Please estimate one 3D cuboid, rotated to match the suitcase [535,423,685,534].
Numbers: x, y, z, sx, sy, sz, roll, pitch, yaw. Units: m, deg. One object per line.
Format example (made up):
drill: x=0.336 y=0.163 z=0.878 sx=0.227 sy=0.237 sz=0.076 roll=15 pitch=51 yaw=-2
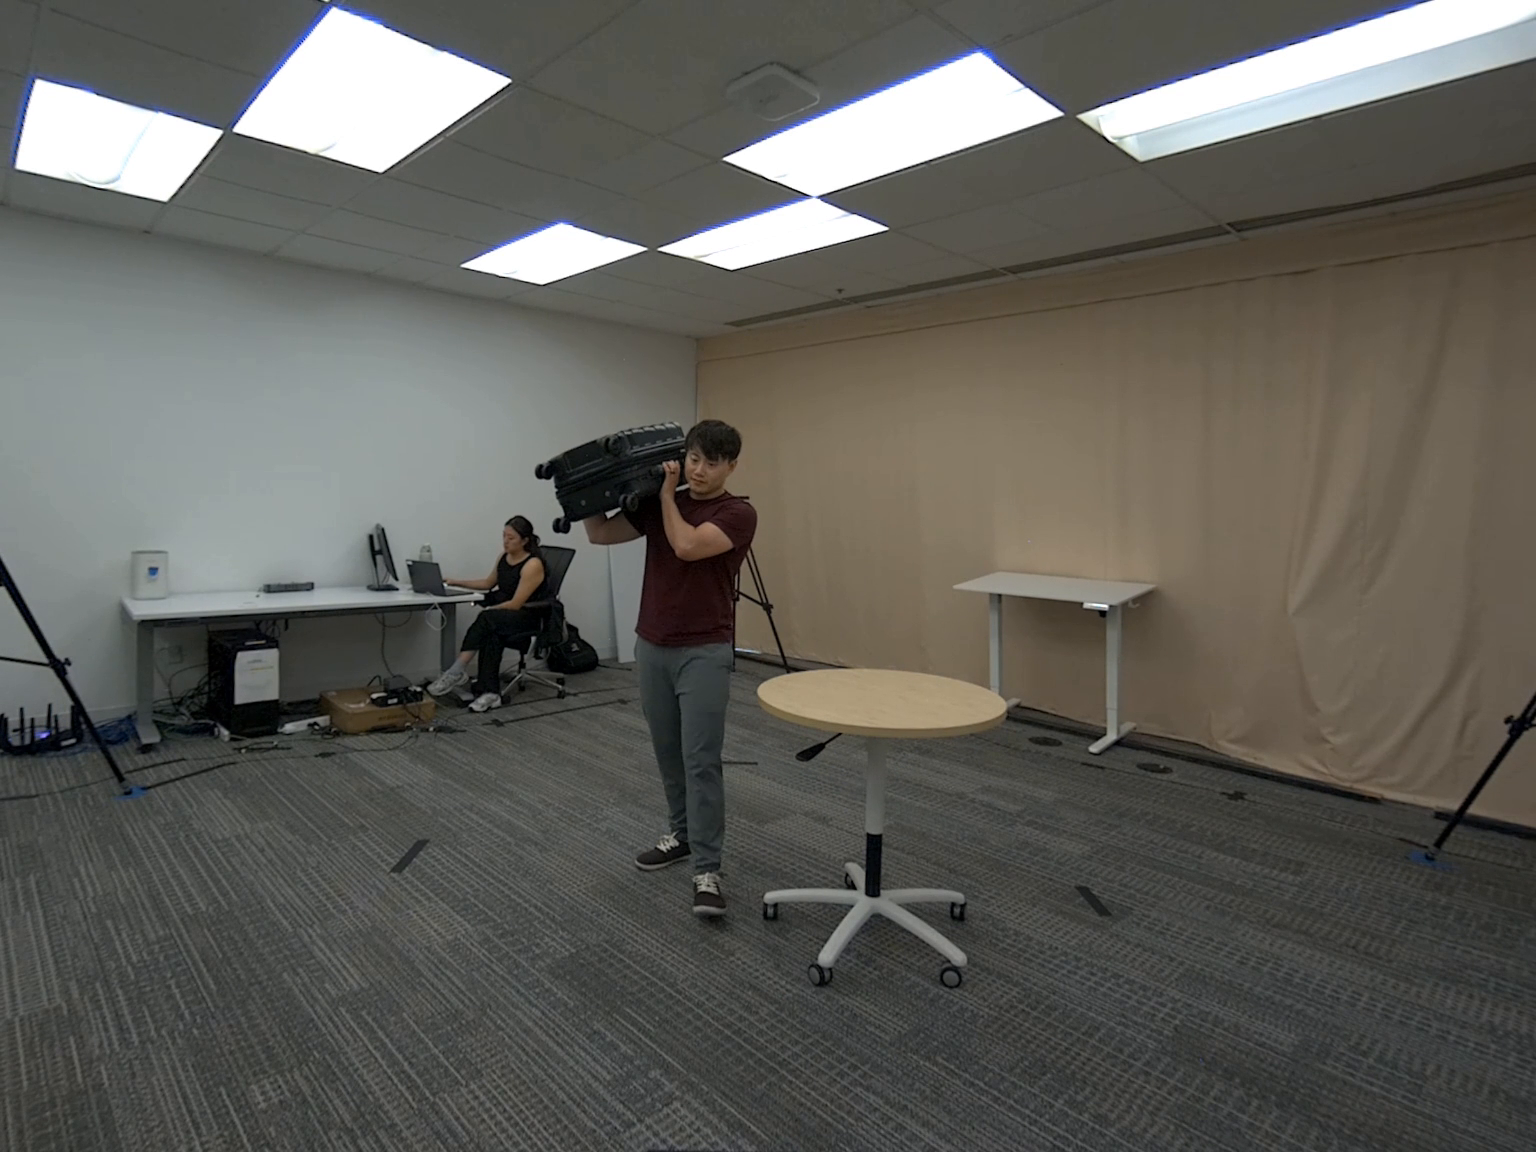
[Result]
suitcase: x=-0.451 y=-0.441 z=3.251 sx=0.389 sy=0.255 sz=0.972 roll=-16 pitch=9 yaw=26
